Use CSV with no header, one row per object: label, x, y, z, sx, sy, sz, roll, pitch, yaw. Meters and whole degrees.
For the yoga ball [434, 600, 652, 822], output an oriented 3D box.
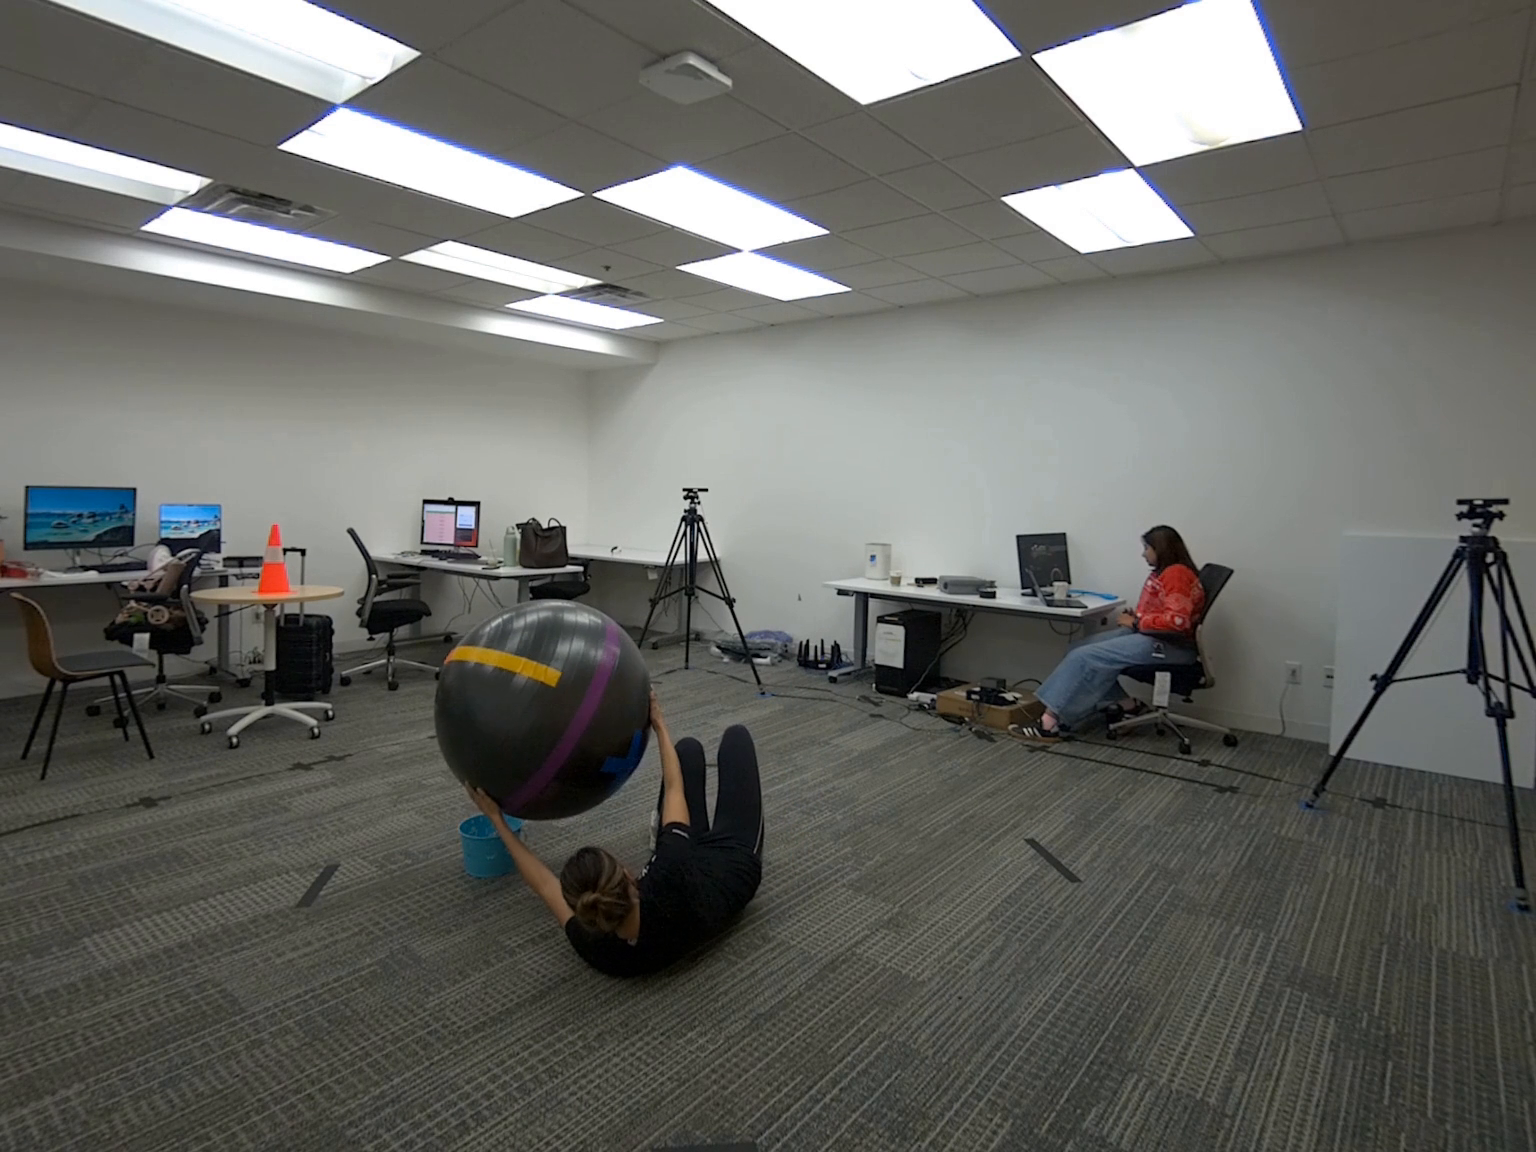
yoga ball,-0.791,0.466,2.976,0.757,0.756,0.762,1,4,-2
